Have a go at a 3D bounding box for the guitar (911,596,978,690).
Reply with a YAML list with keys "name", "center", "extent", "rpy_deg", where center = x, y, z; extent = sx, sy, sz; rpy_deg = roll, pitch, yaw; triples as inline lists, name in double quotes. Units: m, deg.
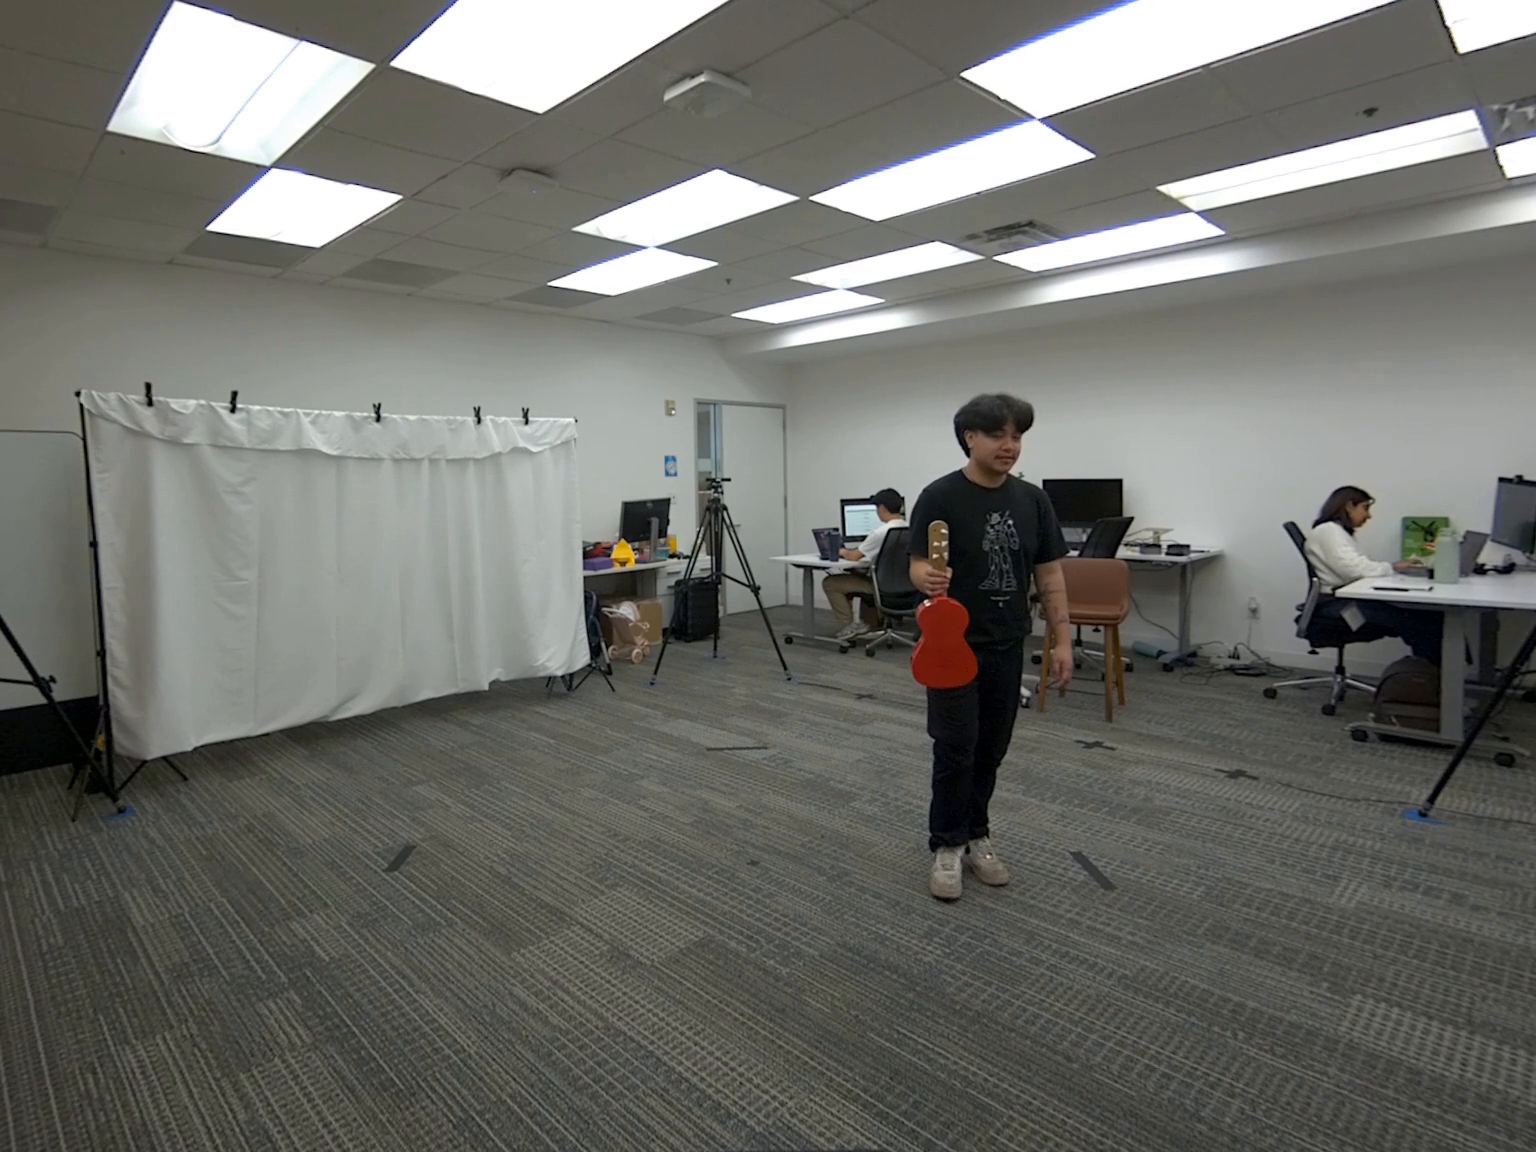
- name: "guitar"
  center: [0.501, 0.097, 2.578]
  extent: [0.194, 0.493, 0.071]
  rpy_deg: [-11, 9, 6]
